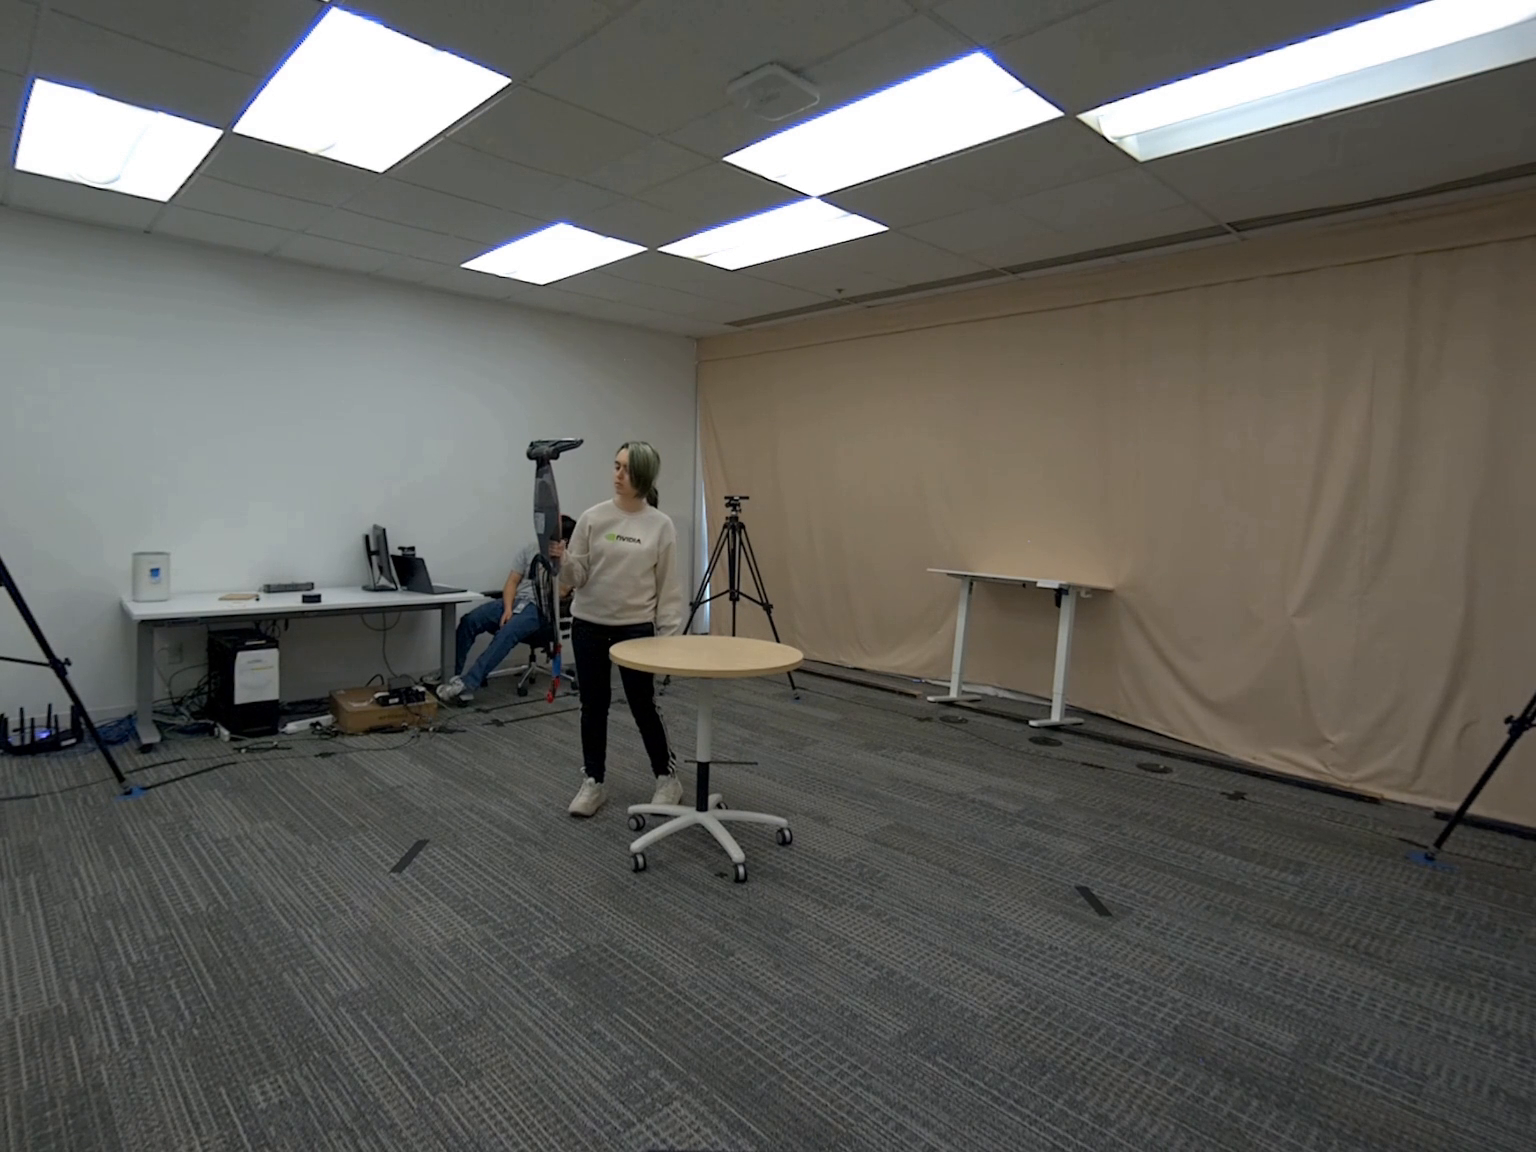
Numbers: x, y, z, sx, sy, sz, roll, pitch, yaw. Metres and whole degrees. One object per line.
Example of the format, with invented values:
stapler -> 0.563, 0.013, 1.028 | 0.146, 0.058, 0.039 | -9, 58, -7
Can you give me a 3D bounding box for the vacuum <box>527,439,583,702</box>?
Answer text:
vacuum -> -0.906, -0.015, 3.445 | 0.258, 1.047, 0.141 | 3, 3, 30
